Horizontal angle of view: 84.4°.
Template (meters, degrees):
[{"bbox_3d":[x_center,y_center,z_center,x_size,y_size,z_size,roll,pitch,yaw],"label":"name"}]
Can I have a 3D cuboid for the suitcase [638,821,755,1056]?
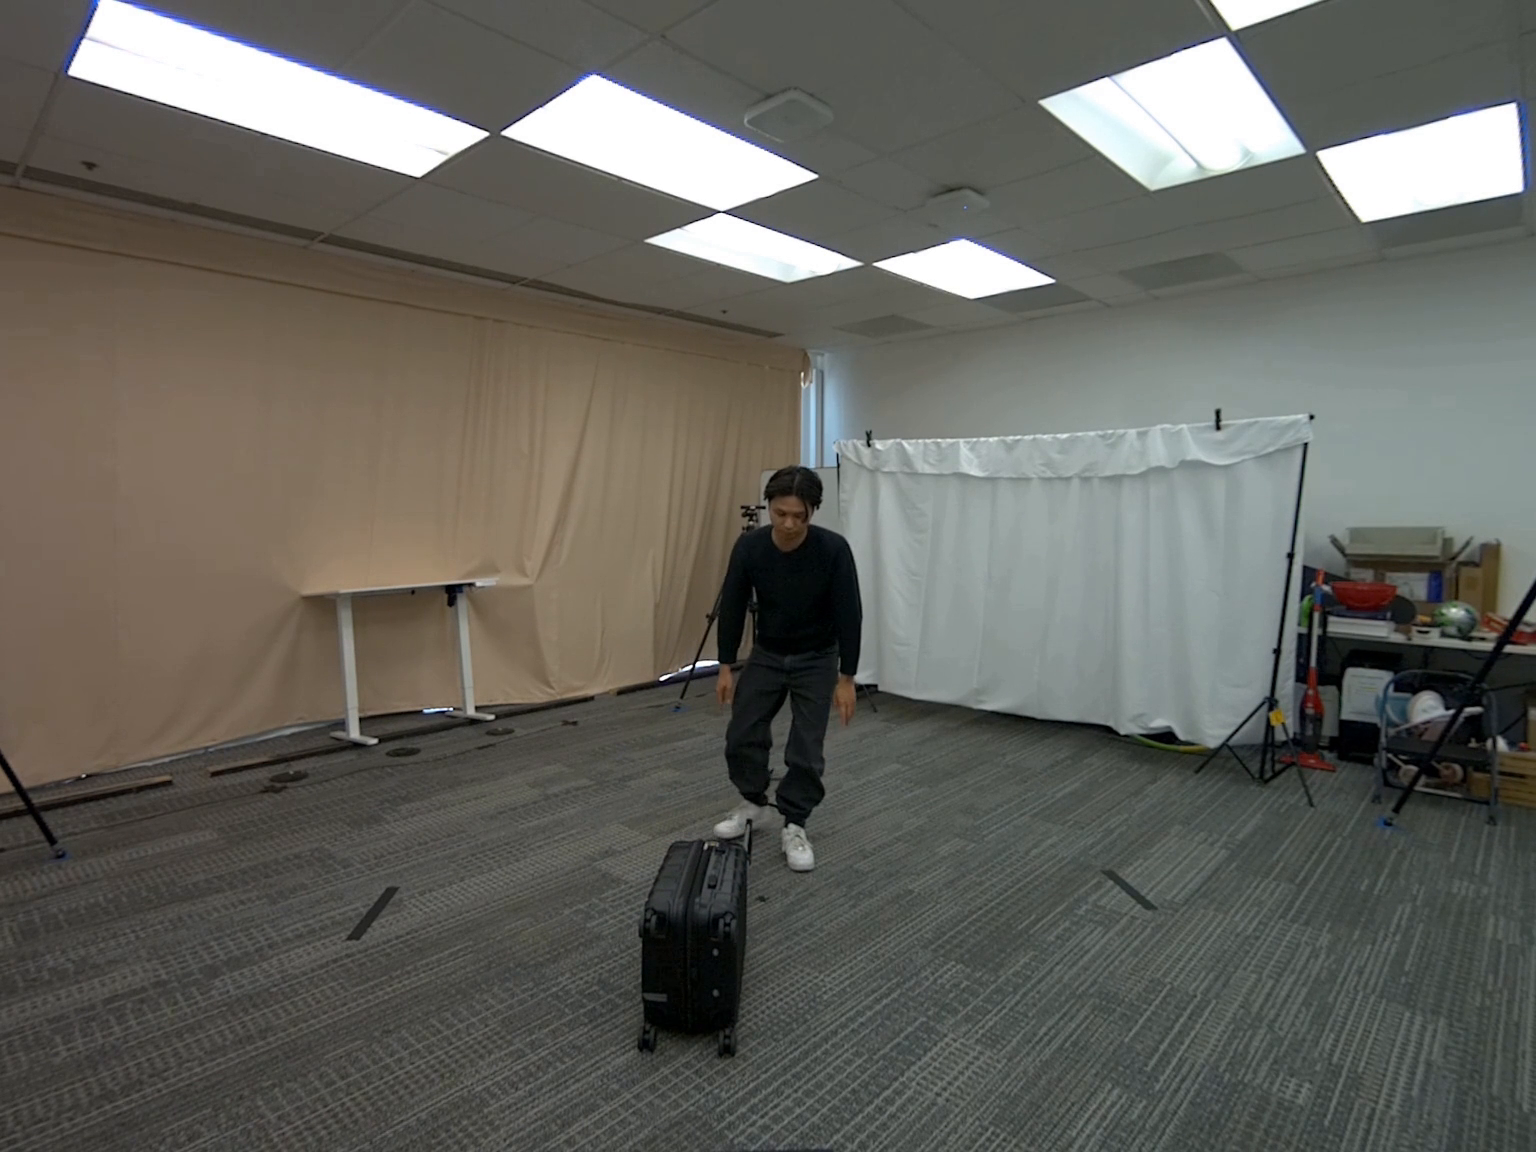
[{"bbox_3d":[-0.194,0.987,2.600,0.258,0.383,0.978,1,4,1],"label":"suitcase"}]
